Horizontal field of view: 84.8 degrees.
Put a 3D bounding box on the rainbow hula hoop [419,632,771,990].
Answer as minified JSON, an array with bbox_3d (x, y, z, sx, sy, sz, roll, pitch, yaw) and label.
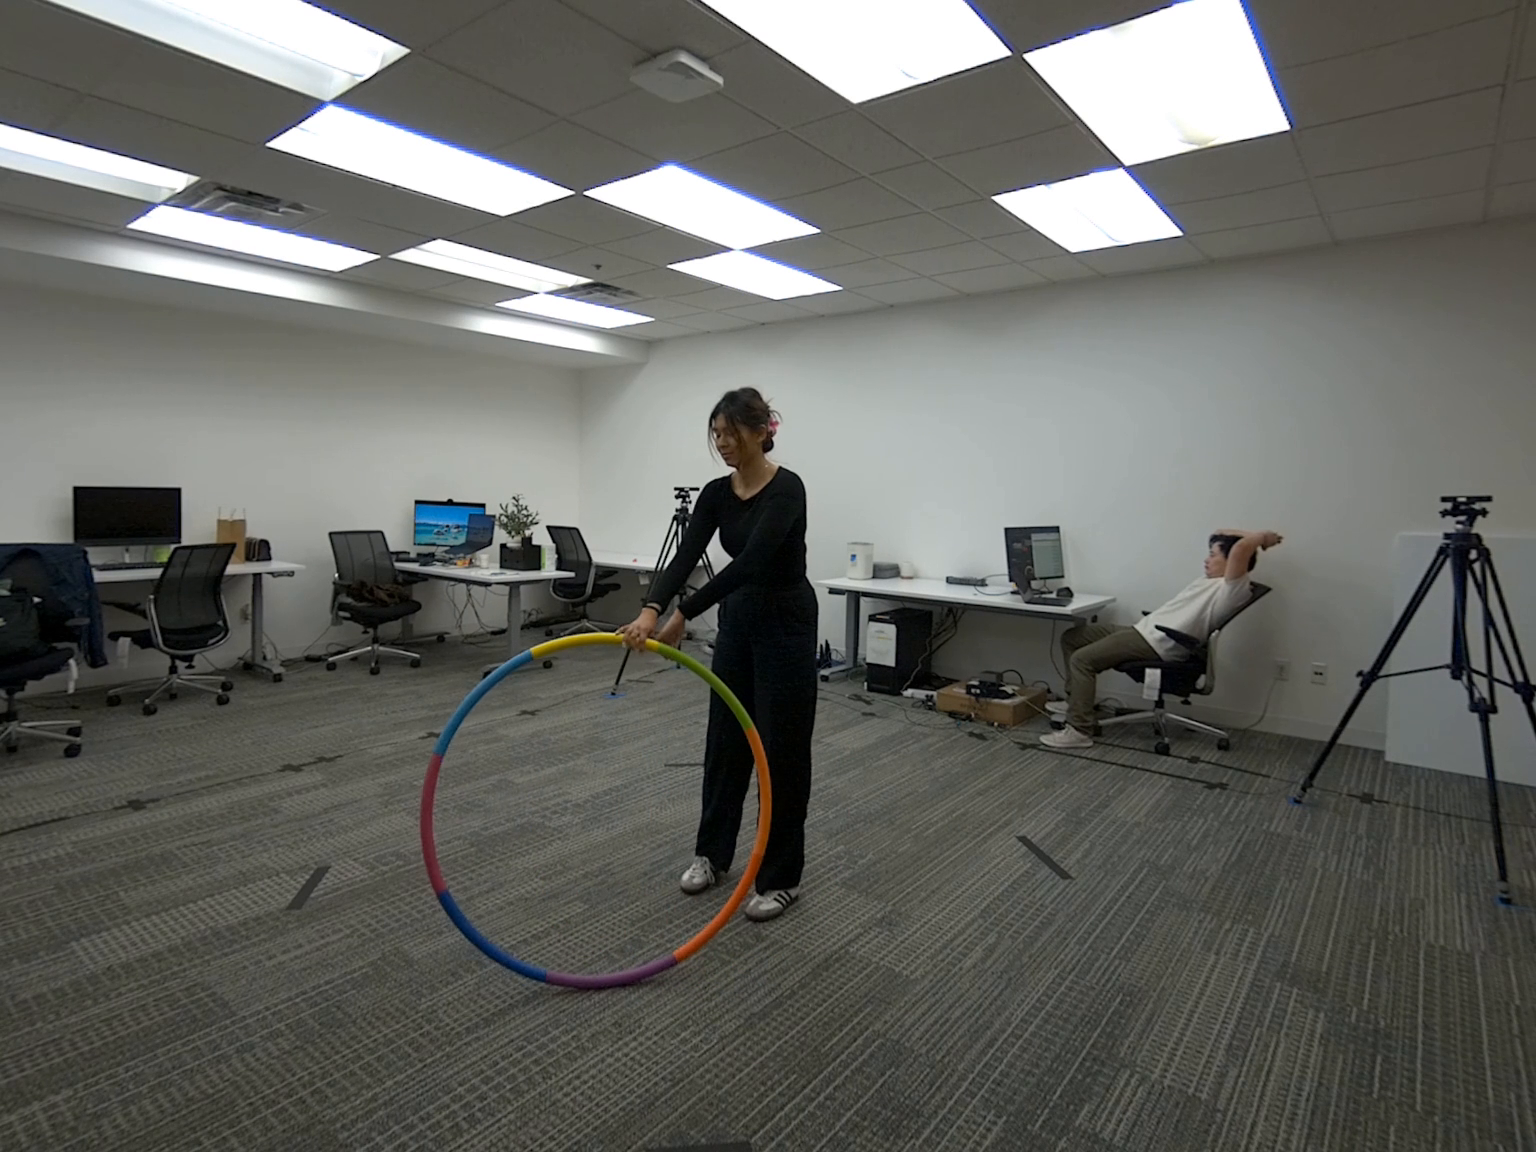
[{"bbox_3d":[-0.474,0.653,2.428,0.965,0.987,0.036,-1,-9,-13],"label":"rainbow hula hoop"}]
